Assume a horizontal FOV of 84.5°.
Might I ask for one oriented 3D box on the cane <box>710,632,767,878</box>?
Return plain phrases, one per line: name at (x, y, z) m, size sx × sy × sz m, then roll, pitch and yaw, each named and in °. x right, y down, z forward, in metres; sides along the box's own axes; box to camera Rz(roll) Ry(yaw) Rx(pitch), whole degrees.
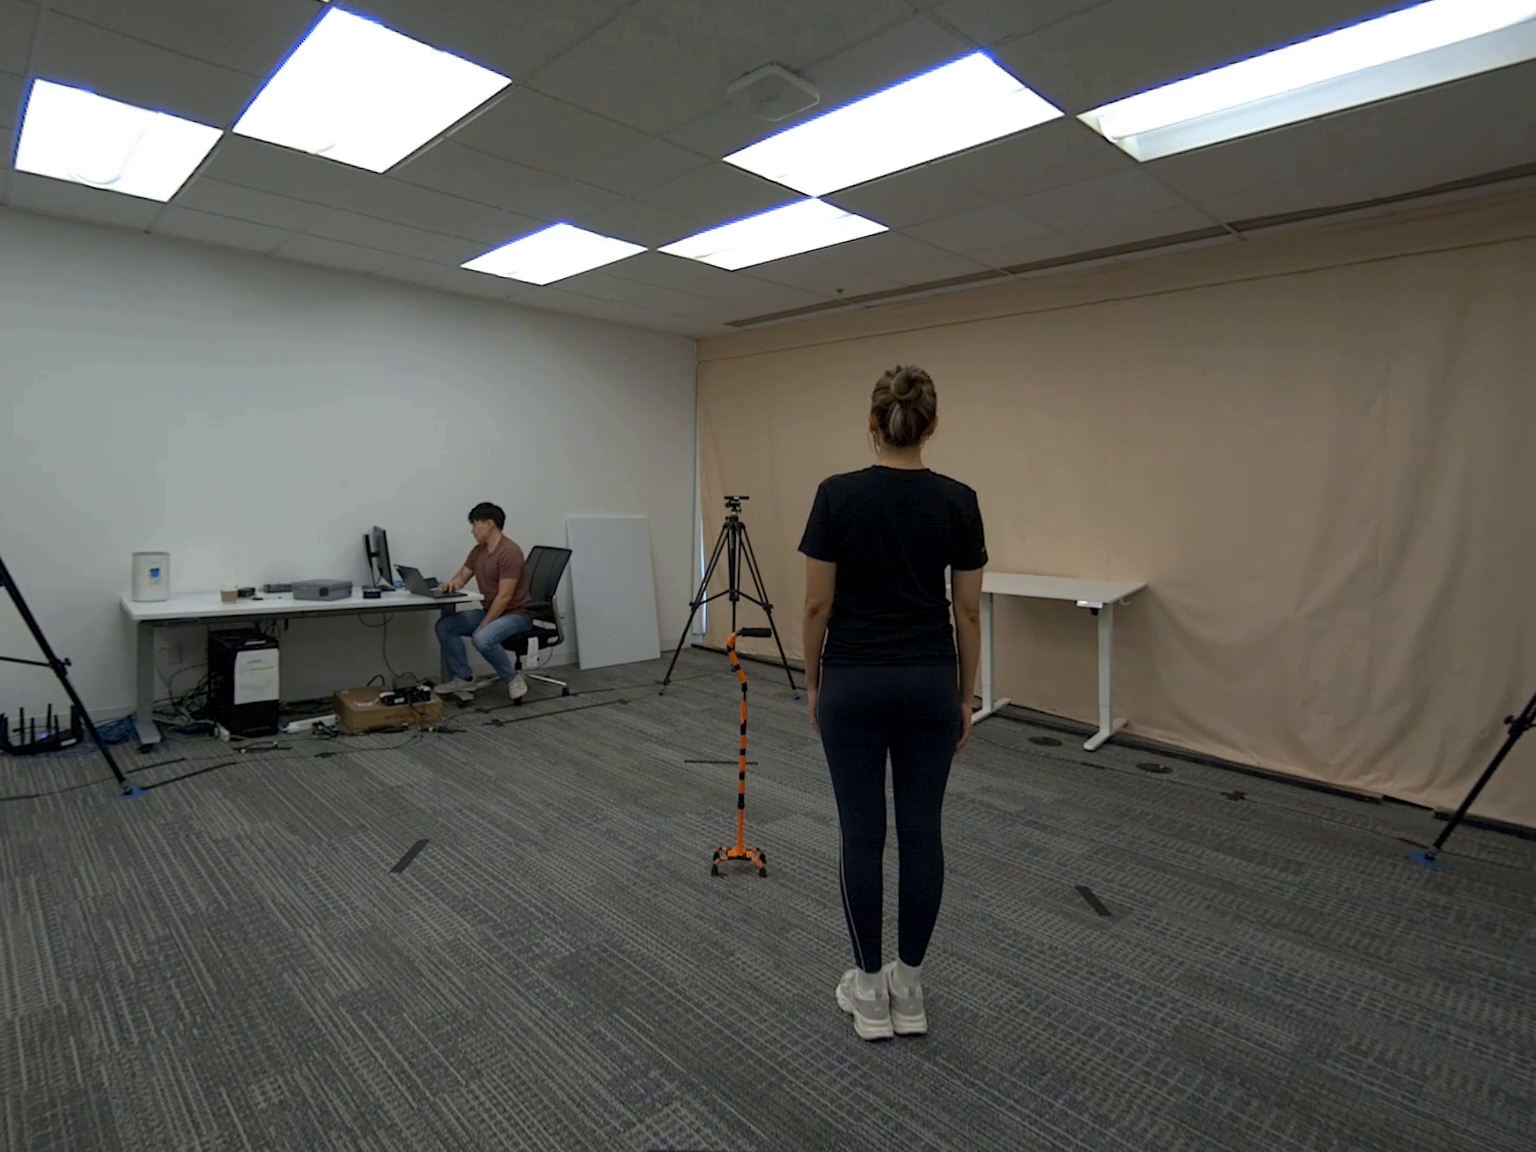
cane at (-0.105, 0.648, 3.141) m, size 0.206 × 0.906 × 0.152 m, roll 1°, pitch 3°, yaw 0°
